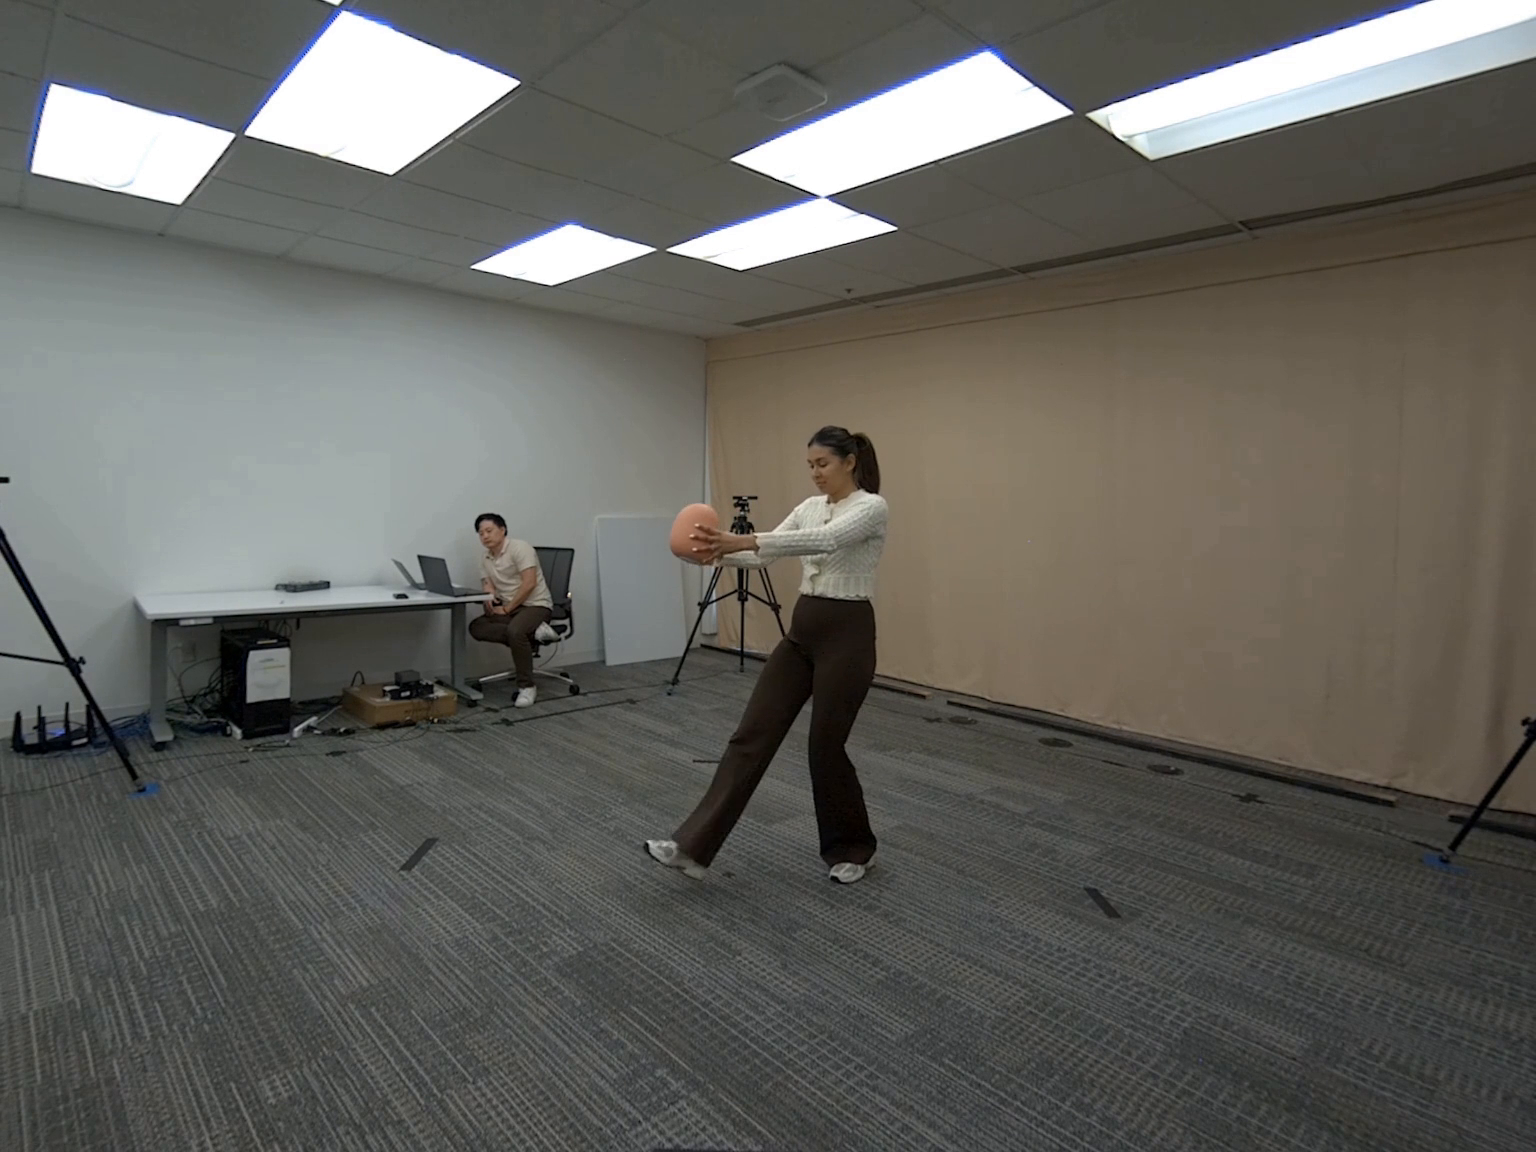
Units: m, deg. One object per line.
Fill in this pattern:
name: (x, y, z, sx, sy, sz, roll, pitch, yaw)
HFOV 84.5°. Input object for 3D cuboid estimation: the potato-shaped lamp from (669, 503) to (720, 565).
potato-shaped lamp: (-0.250, -0.140, 2.806, 0.162, 0.198, 0.174, 11, -3, -20)
